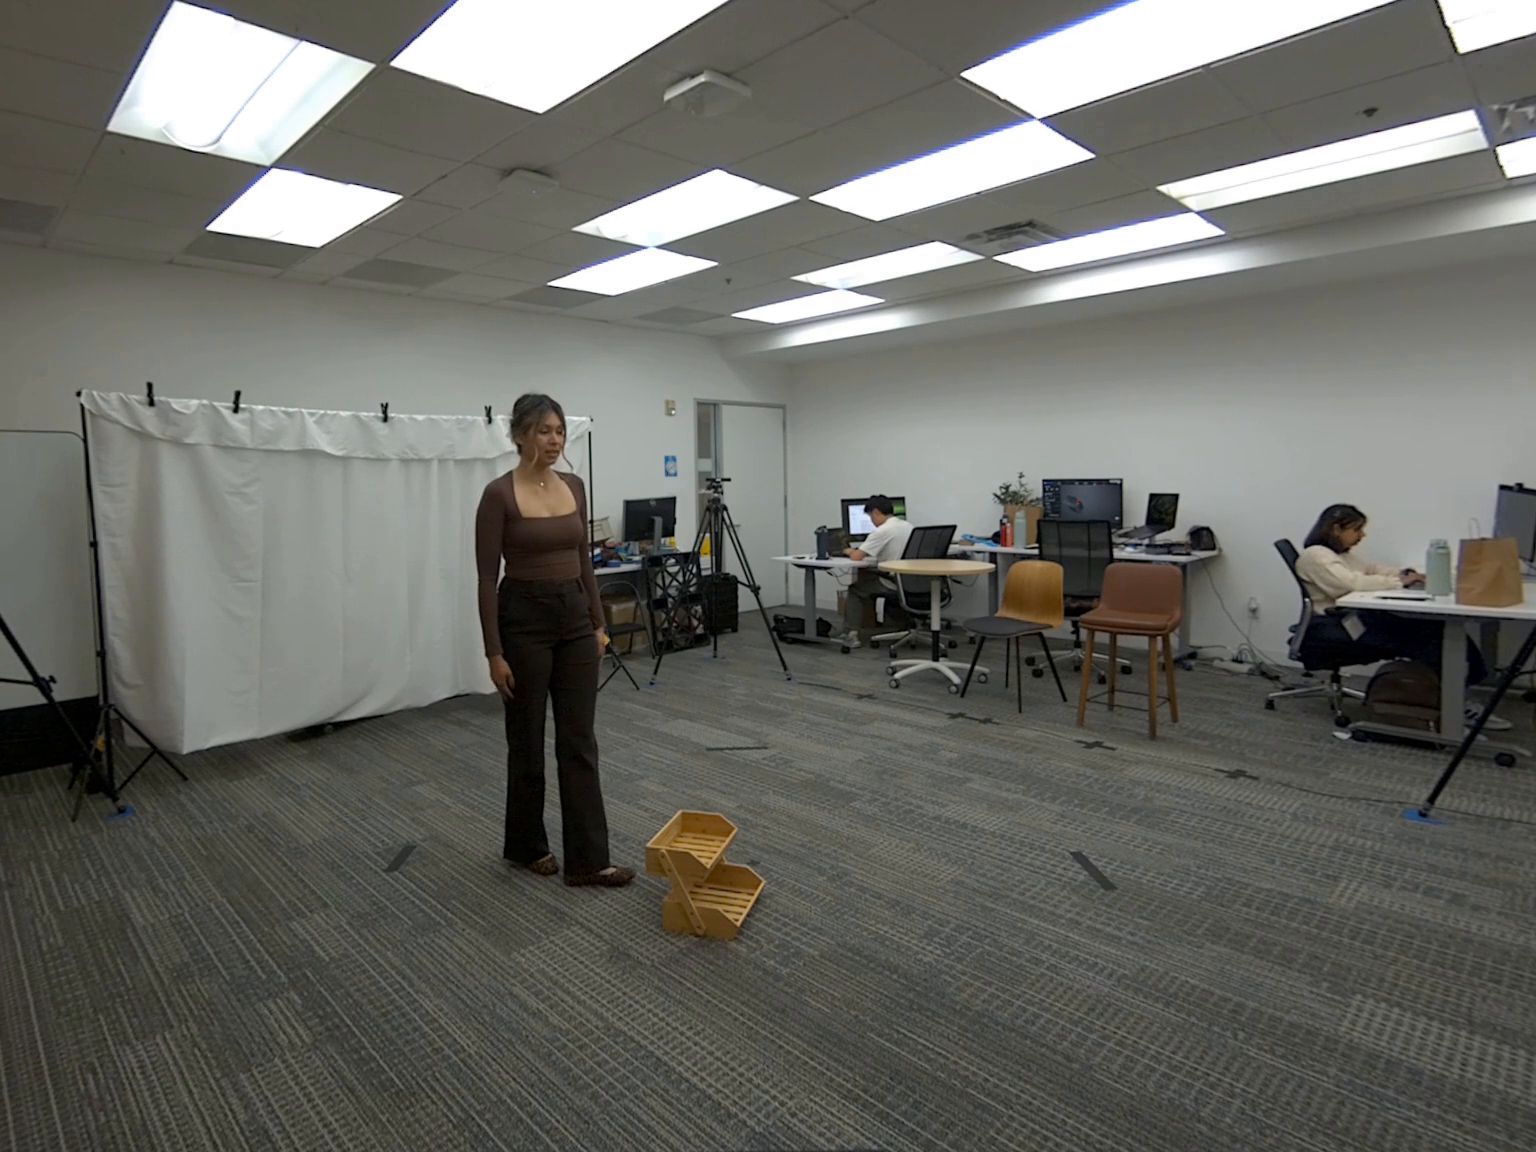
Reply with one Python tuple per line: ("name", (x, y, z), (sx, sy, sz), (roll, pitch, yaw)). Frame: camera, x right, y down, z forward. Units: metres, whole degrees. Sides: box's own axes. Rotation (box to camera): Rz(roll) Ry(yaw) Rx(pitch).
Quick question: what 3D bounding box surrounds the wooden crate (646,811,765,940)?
("wooden crate", (-0.183, 0.955, 2.752), (0.307, 0.272, 0.320), (0, 5, 17))
